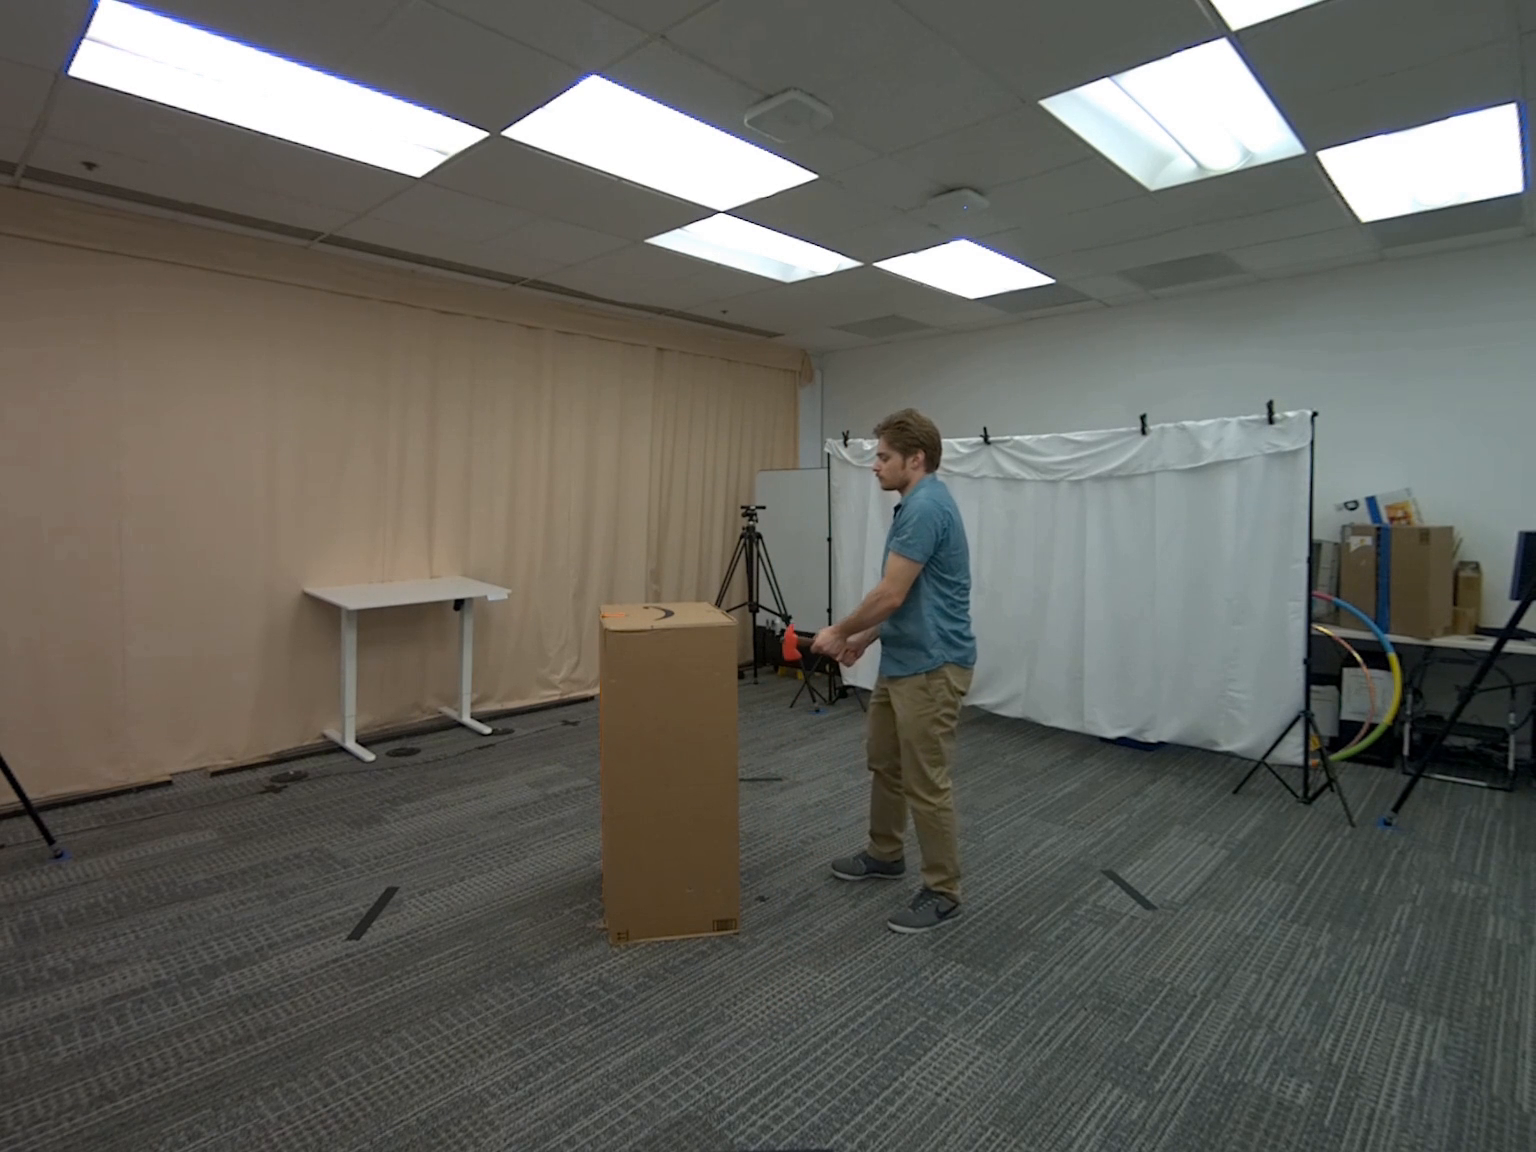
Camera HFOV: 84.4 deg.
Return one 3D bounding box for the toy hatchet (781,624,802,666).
[{"bbox_3d":[0.167,0.277,2.873,0.270,0.131,0.029,28,0,1],"label":"toy hatchet"}]
